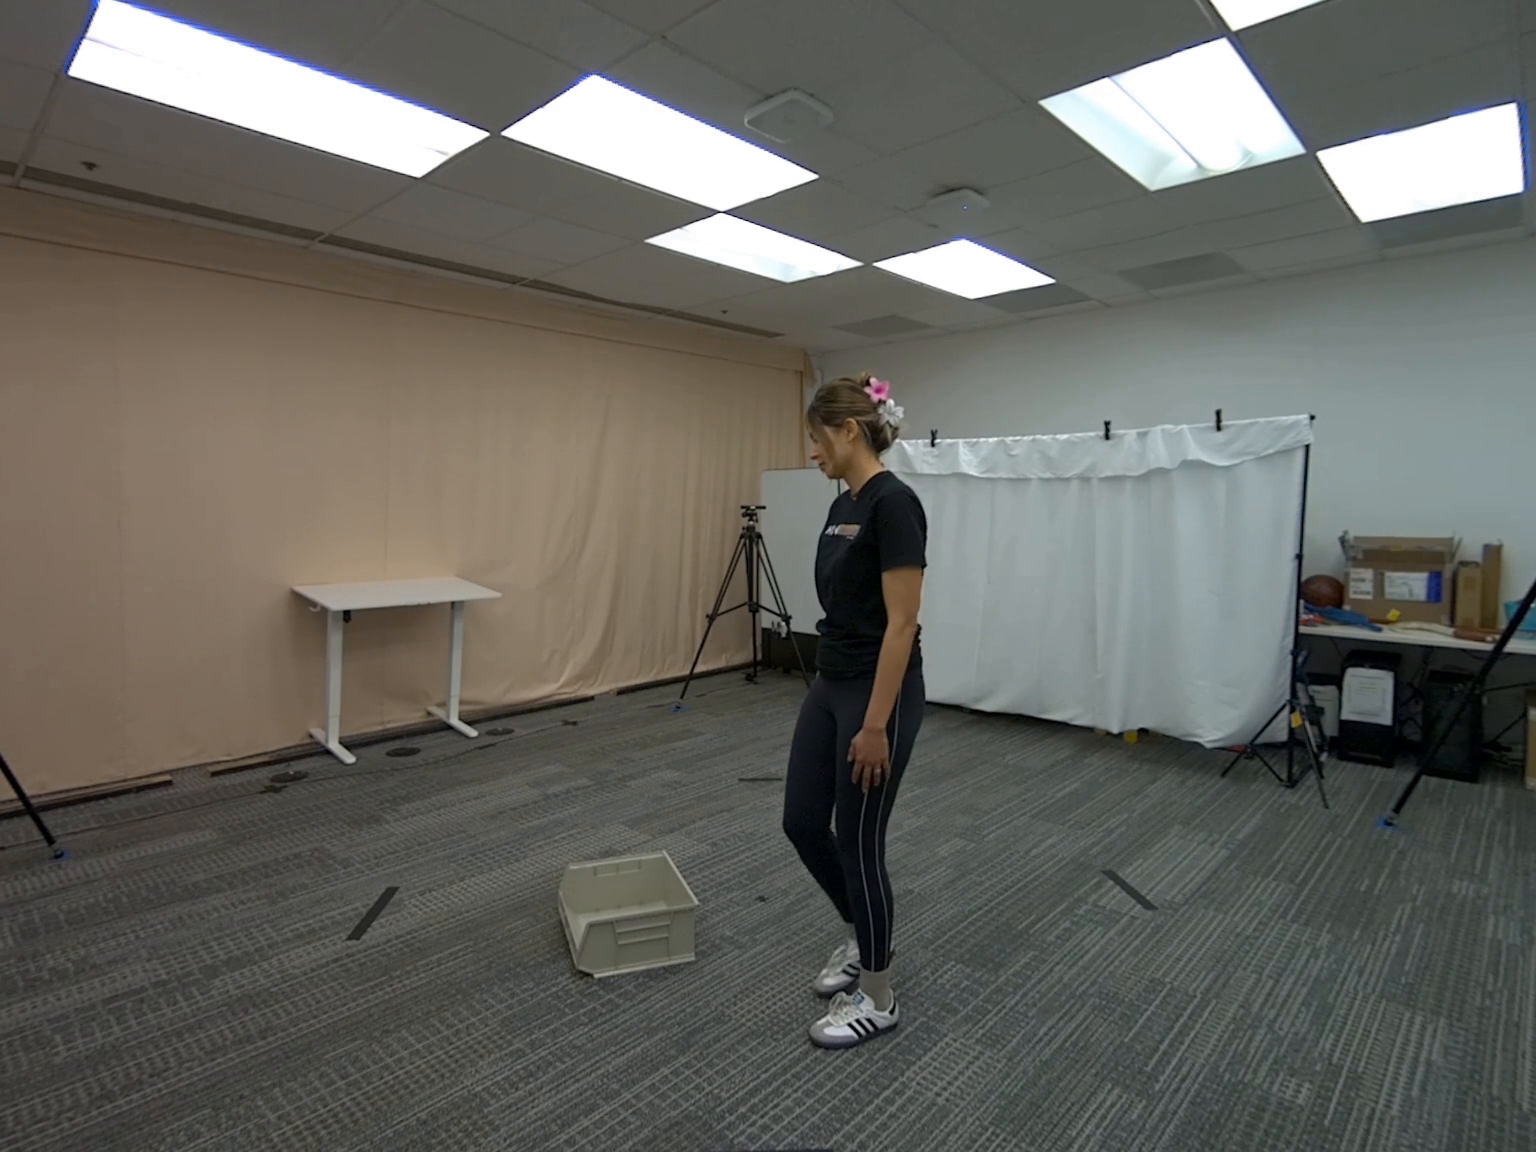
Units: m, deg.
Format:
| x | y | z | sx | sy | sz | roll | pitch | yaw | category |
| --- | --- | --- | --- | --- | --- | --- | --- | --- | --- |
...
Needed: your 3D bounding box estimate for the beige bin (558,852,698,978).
| x | y | z | sx | sy | sz | roll | pitch | yaw | category |
| --- | --- | --- | --- | --- | --- | --- | --- | --- | --- |
| -0.462 | 1.083 | 2.709 | 0.370 | 0.188 | 0.431 | -1 | 4 | -20 | beige bin |
